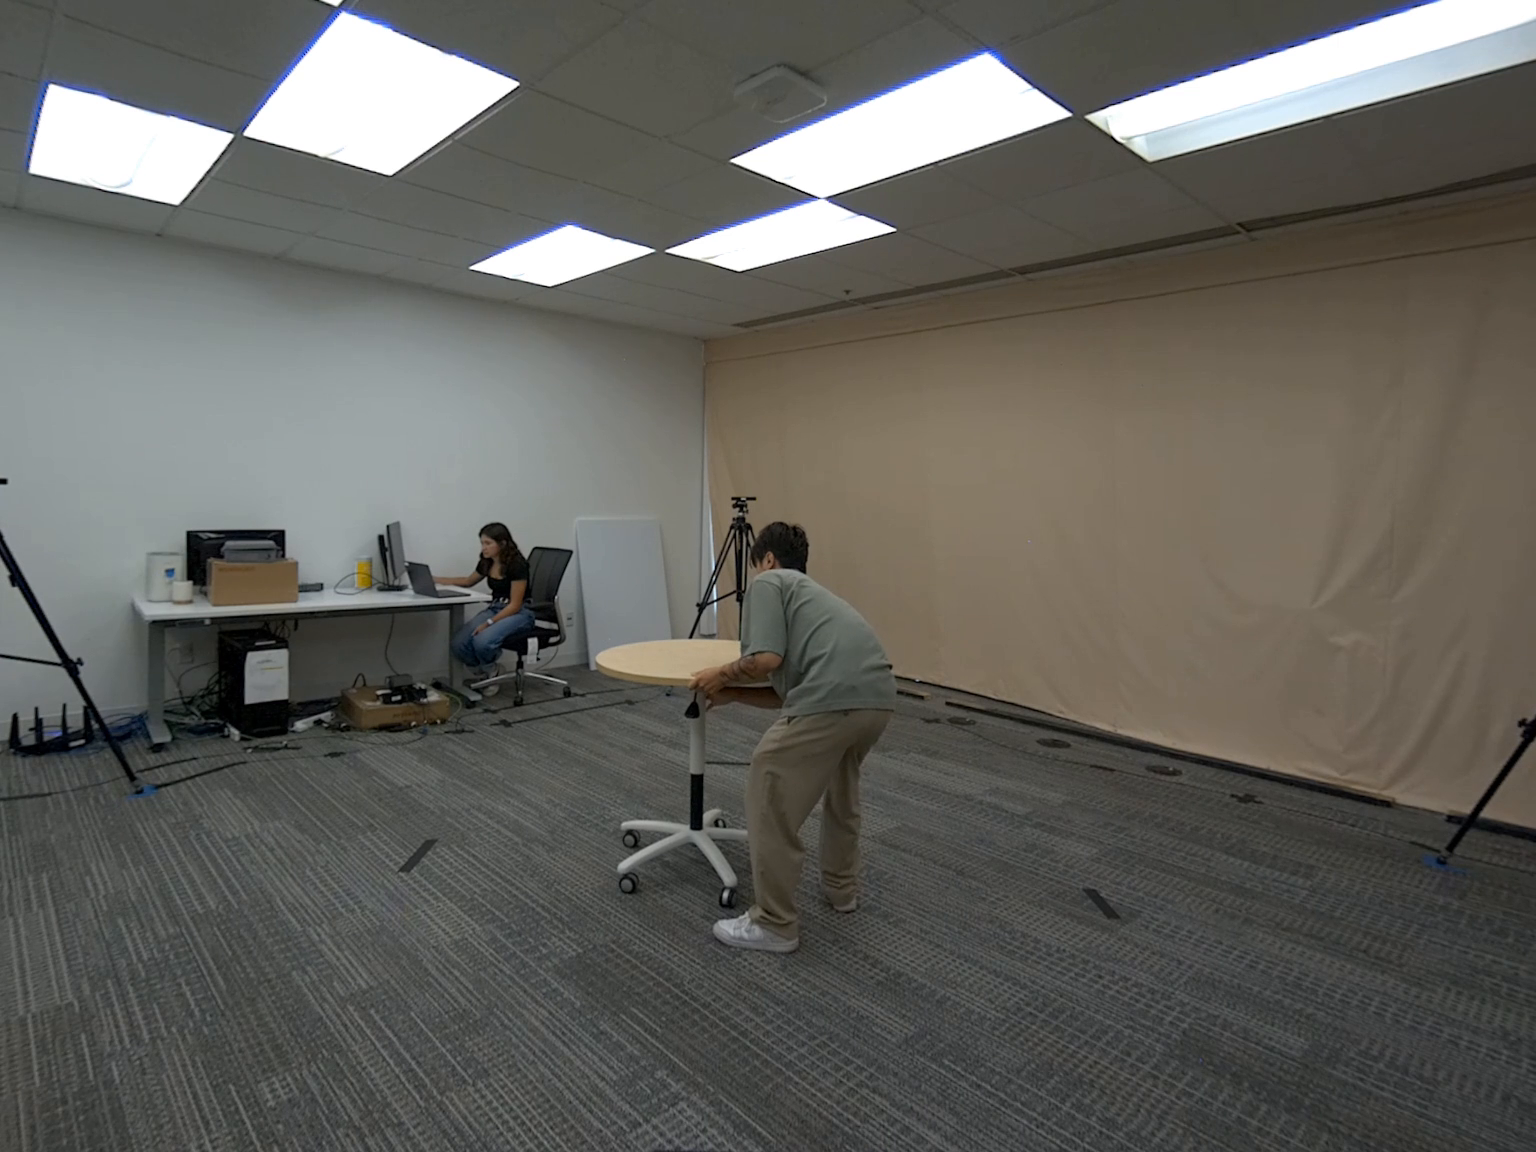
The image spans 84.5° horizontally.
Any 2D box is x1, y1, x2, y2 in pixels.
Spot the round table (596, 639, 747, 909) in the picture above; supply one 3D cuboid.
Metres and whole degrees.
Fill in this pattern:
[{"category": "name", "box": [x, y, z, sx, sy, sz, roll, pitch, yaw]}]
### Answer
[{"category": "round table", "box": [-0.288, 0.697, 3.167, 0.784, 0.785, 0.787, 1, 3, -1]}]
